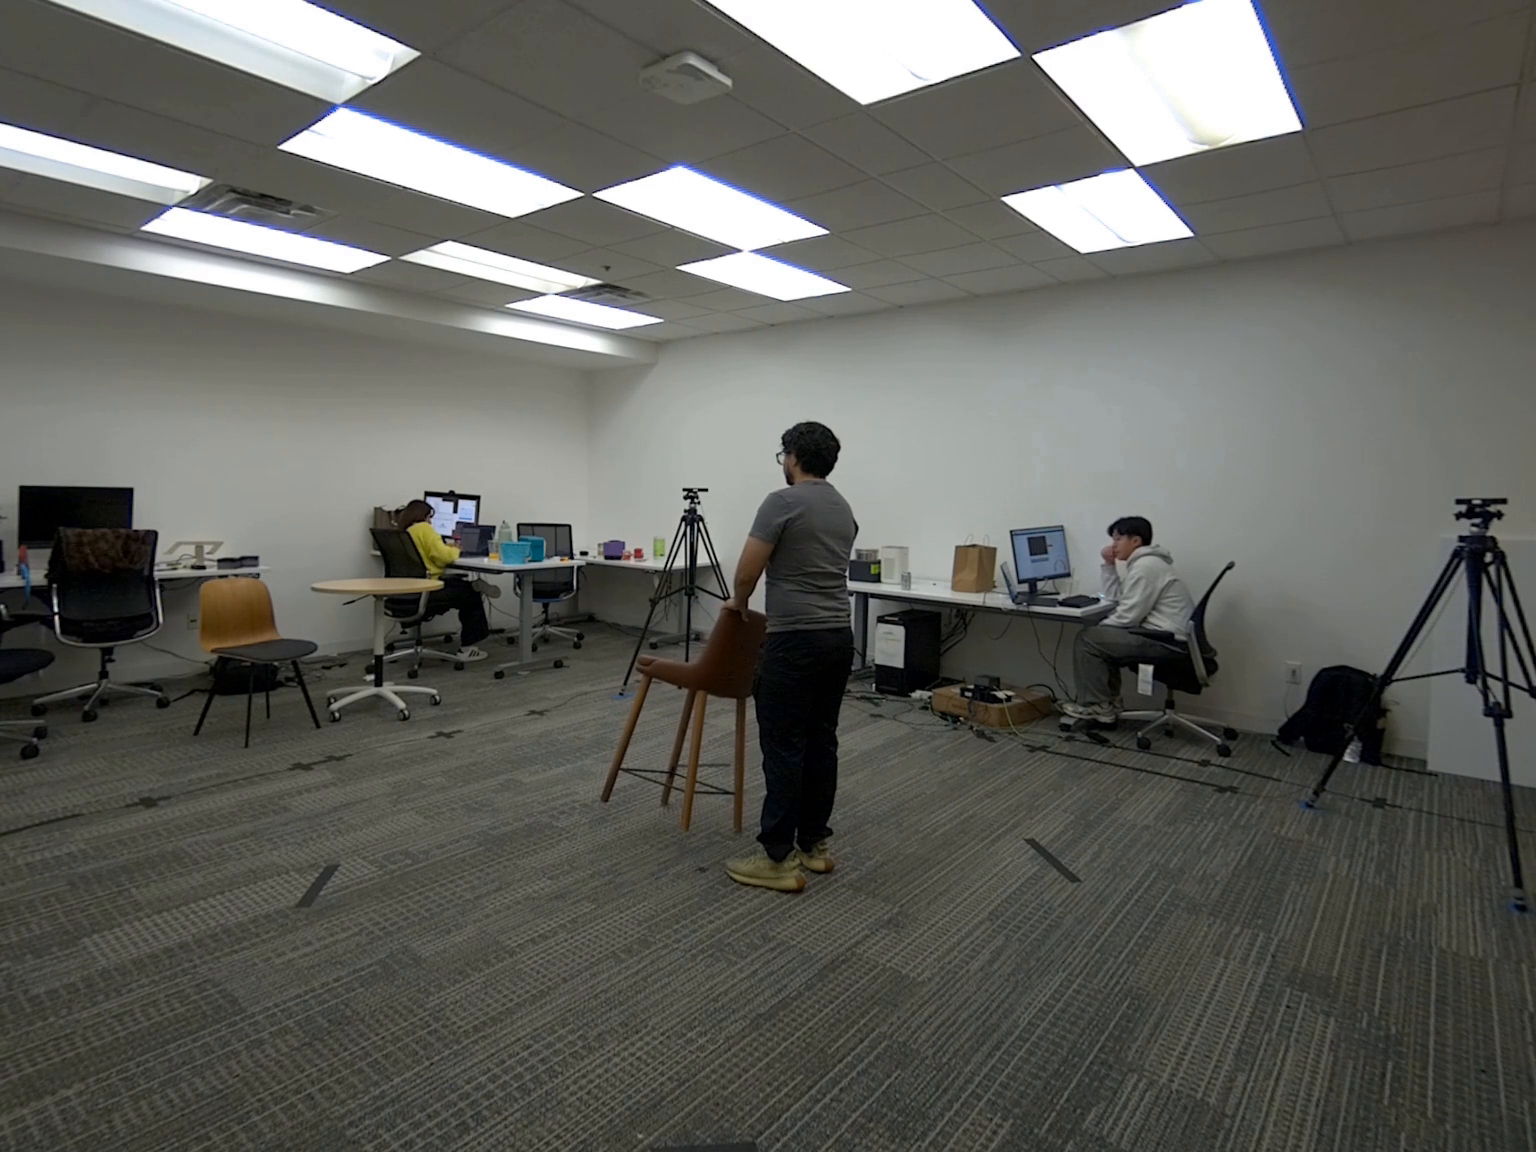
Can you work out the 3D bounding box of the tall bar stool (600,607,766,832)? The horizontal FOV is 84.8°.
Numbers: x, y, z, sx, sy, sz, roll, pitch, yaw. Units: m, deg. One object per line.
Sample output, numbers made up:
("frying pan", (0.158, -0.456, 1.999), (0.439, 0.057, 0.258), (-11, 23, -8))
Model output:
("tall bar stool", (-0.312, 0.555, 3.539), (0.484, 0.895, 0.439), (7, -9, 37))
